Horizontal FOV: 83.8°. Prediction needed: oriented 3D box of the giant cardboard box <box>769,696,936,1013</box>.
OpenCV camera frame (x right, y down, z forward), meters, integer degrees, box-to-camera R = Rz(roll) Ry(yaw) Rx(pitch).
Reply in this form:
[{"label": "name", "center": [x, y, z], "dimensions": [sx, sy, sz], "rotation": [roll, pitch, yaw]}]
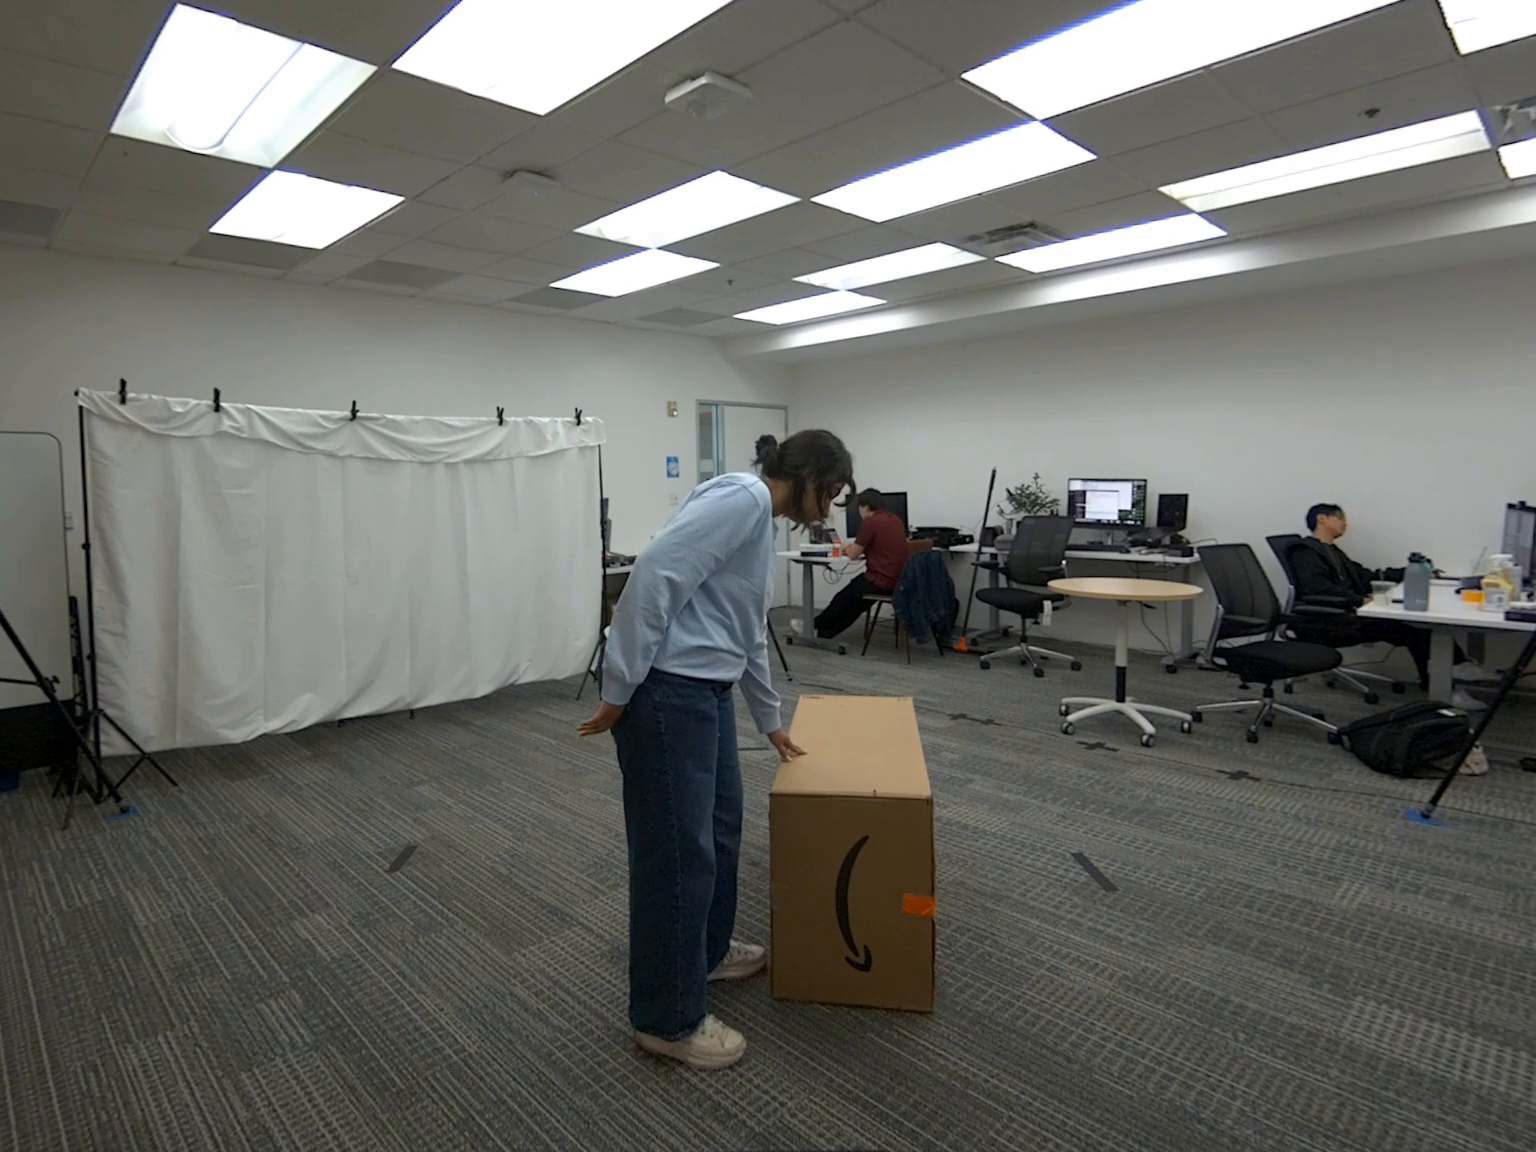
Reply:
[{"label": "giant cardboard box", "center": [0.281, 0.789, 2.737], "dimensions": [0.430, 0.575, 1.022], "rotation": [0, 6, 7]}]
